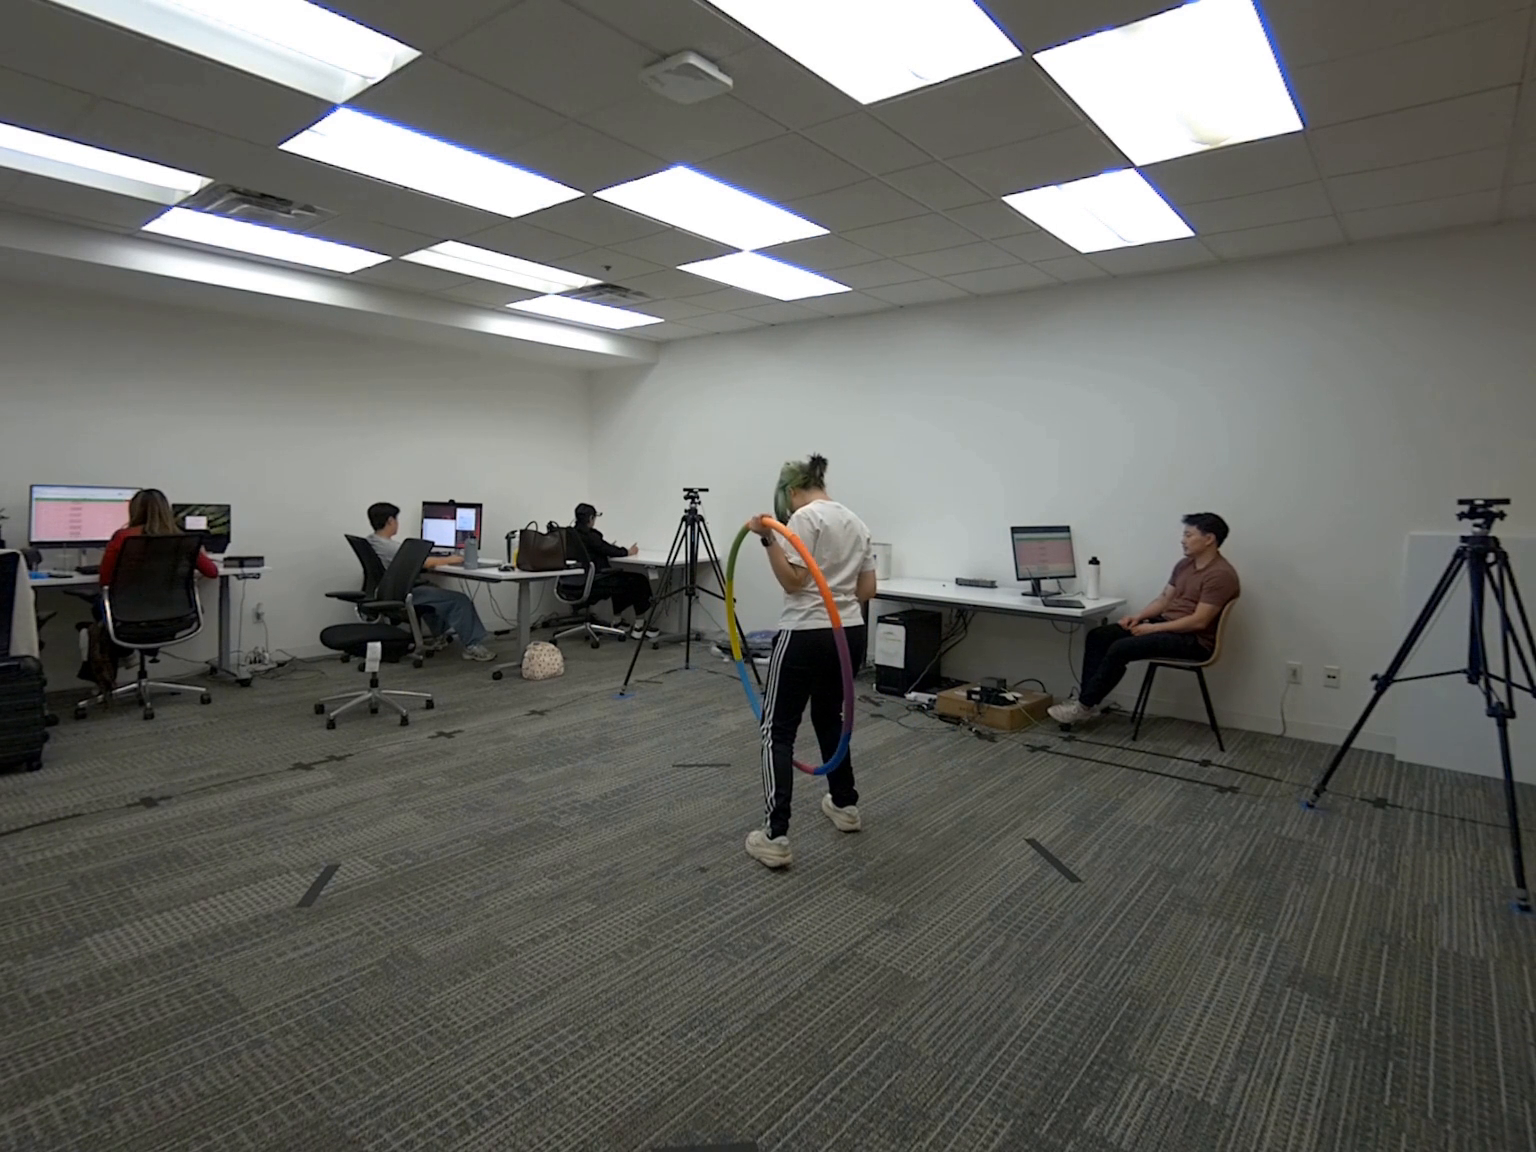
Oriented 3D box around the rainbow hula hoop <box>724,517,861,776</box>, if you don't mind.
[{"bbox_3d":[0.038,0.261,3.233,0.035,0.971,1.004,-12,9,-23],"label":"rainbow hula hoop"}]
